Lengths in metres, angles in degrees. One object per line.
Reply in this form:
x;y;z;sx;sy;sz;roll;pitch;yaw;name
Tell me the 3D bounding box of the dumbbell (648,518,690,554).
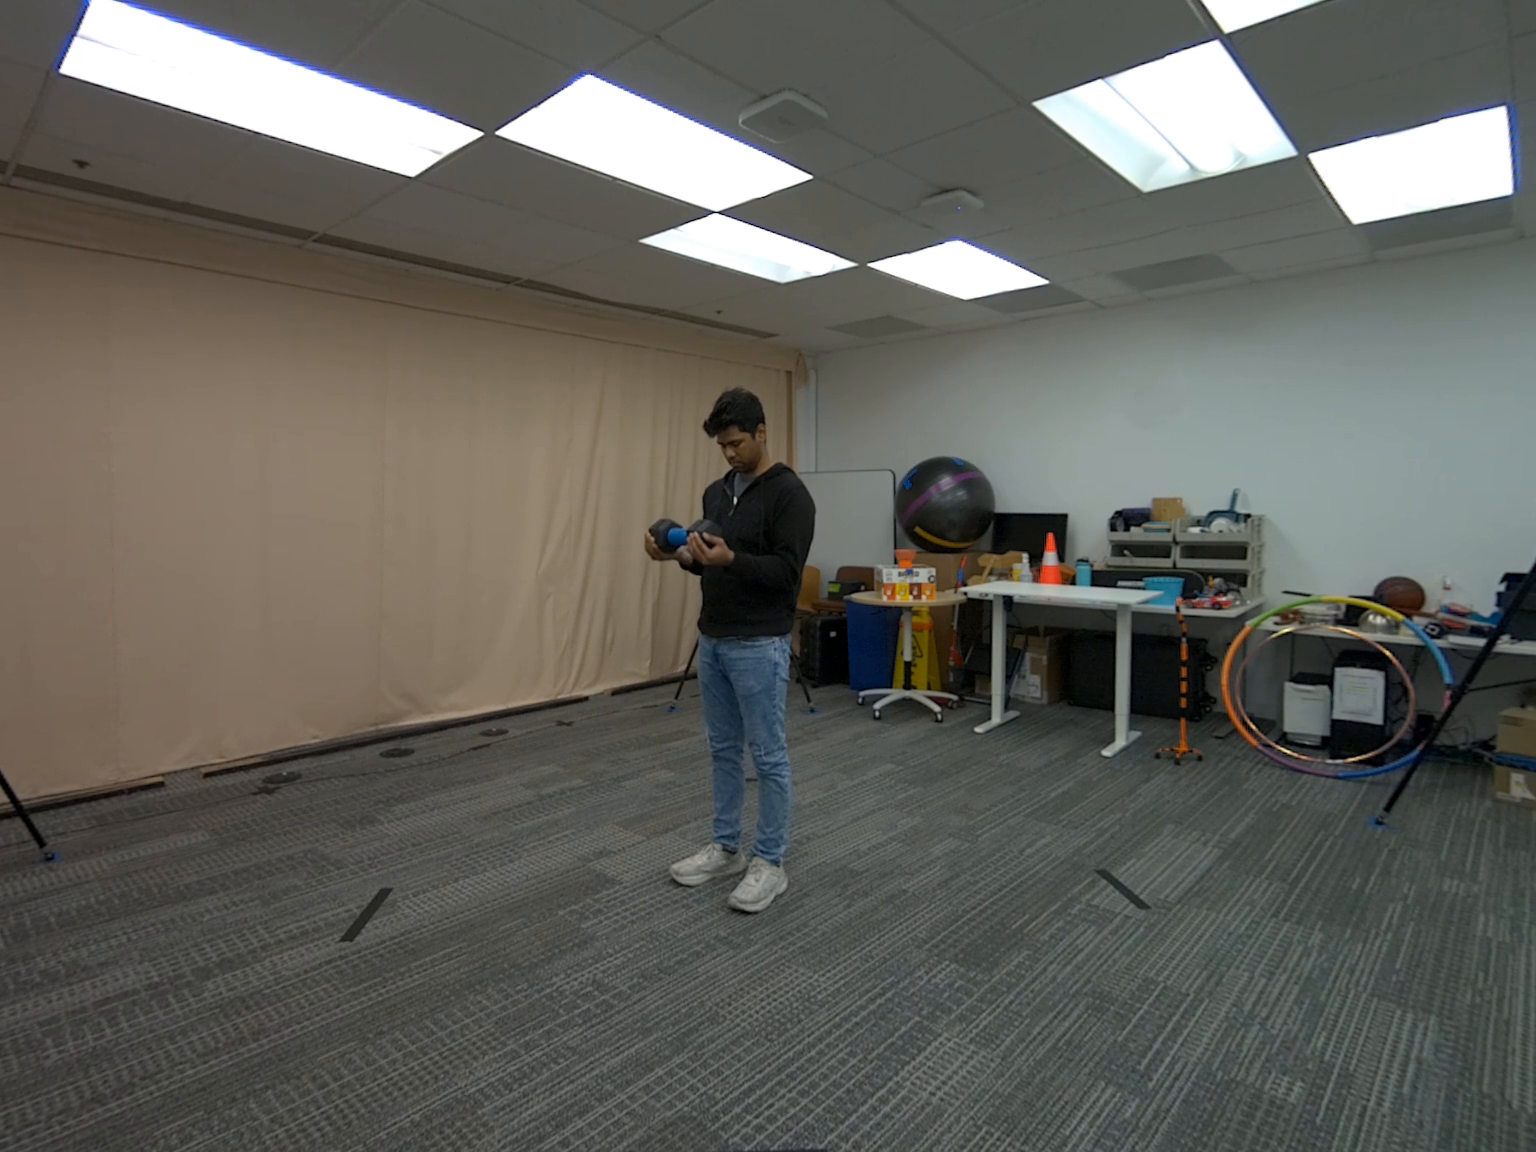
-0.270;-0.126;2.876;0.303;0.106;0.122;6;40;47;dumbbell
